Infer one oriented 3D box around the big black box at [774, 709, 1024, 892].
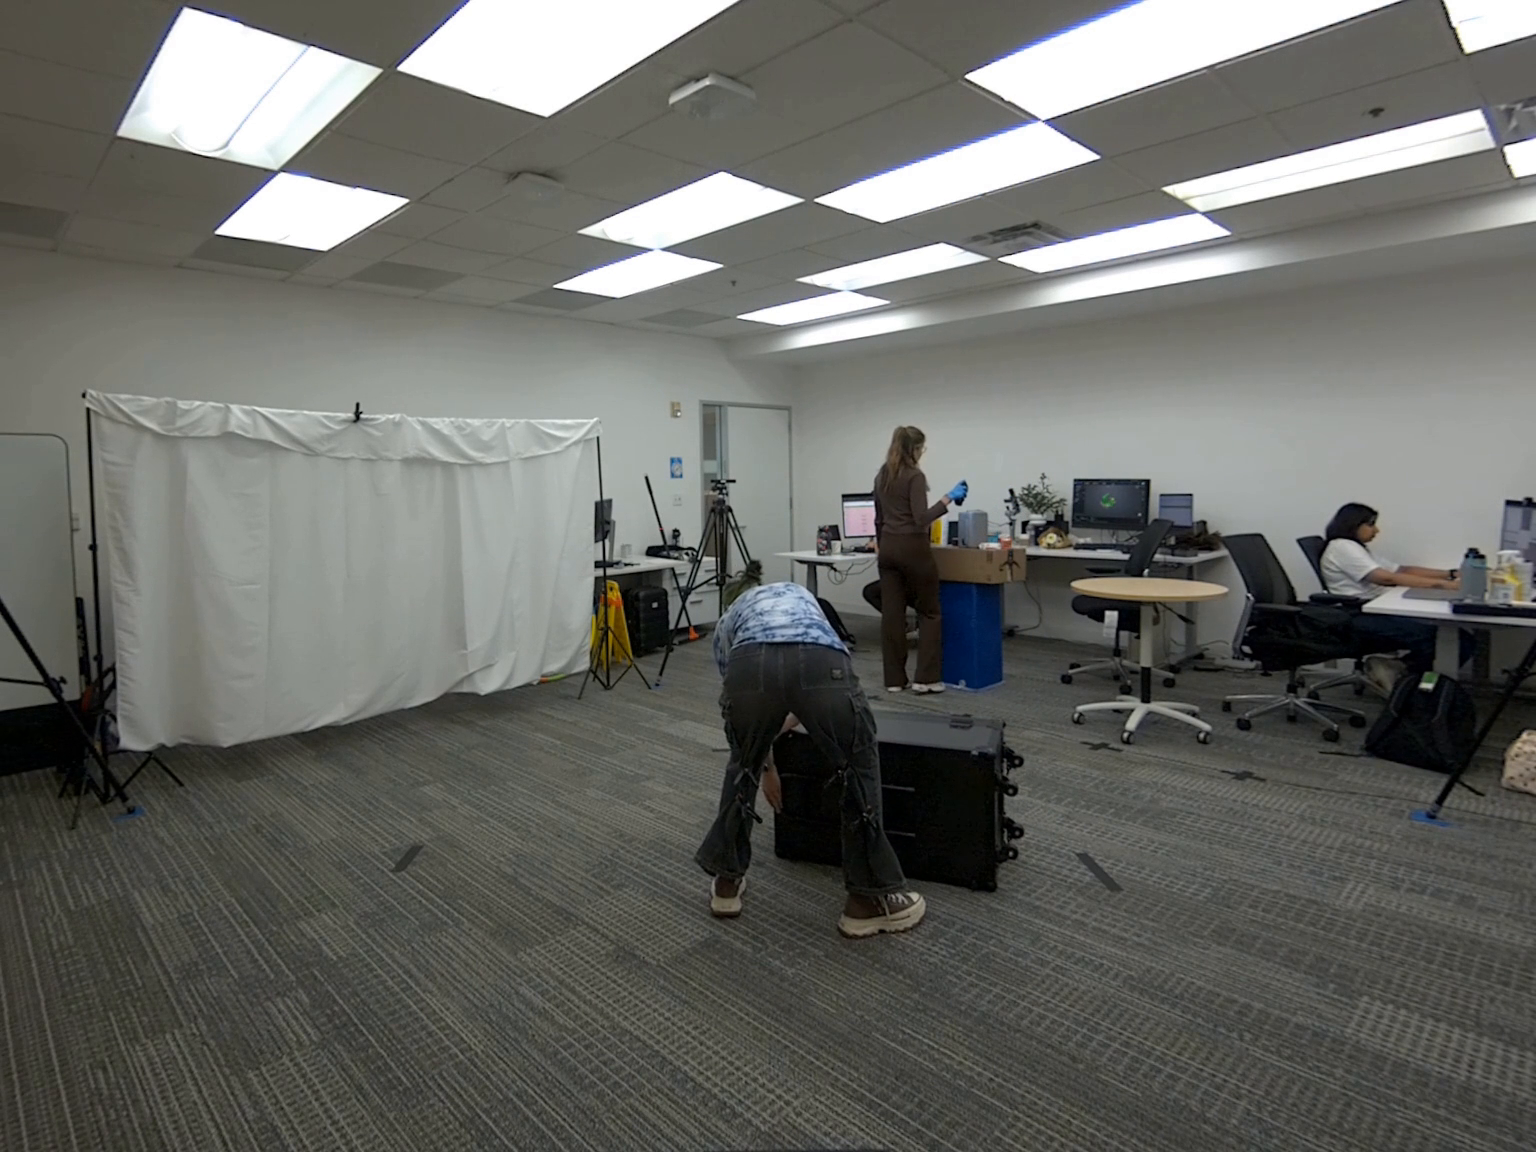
[{"bbox_3d":[0.473,0.778,3.119,0.879,0.518,0.390,1,7,22],"label":"big black box"}]
